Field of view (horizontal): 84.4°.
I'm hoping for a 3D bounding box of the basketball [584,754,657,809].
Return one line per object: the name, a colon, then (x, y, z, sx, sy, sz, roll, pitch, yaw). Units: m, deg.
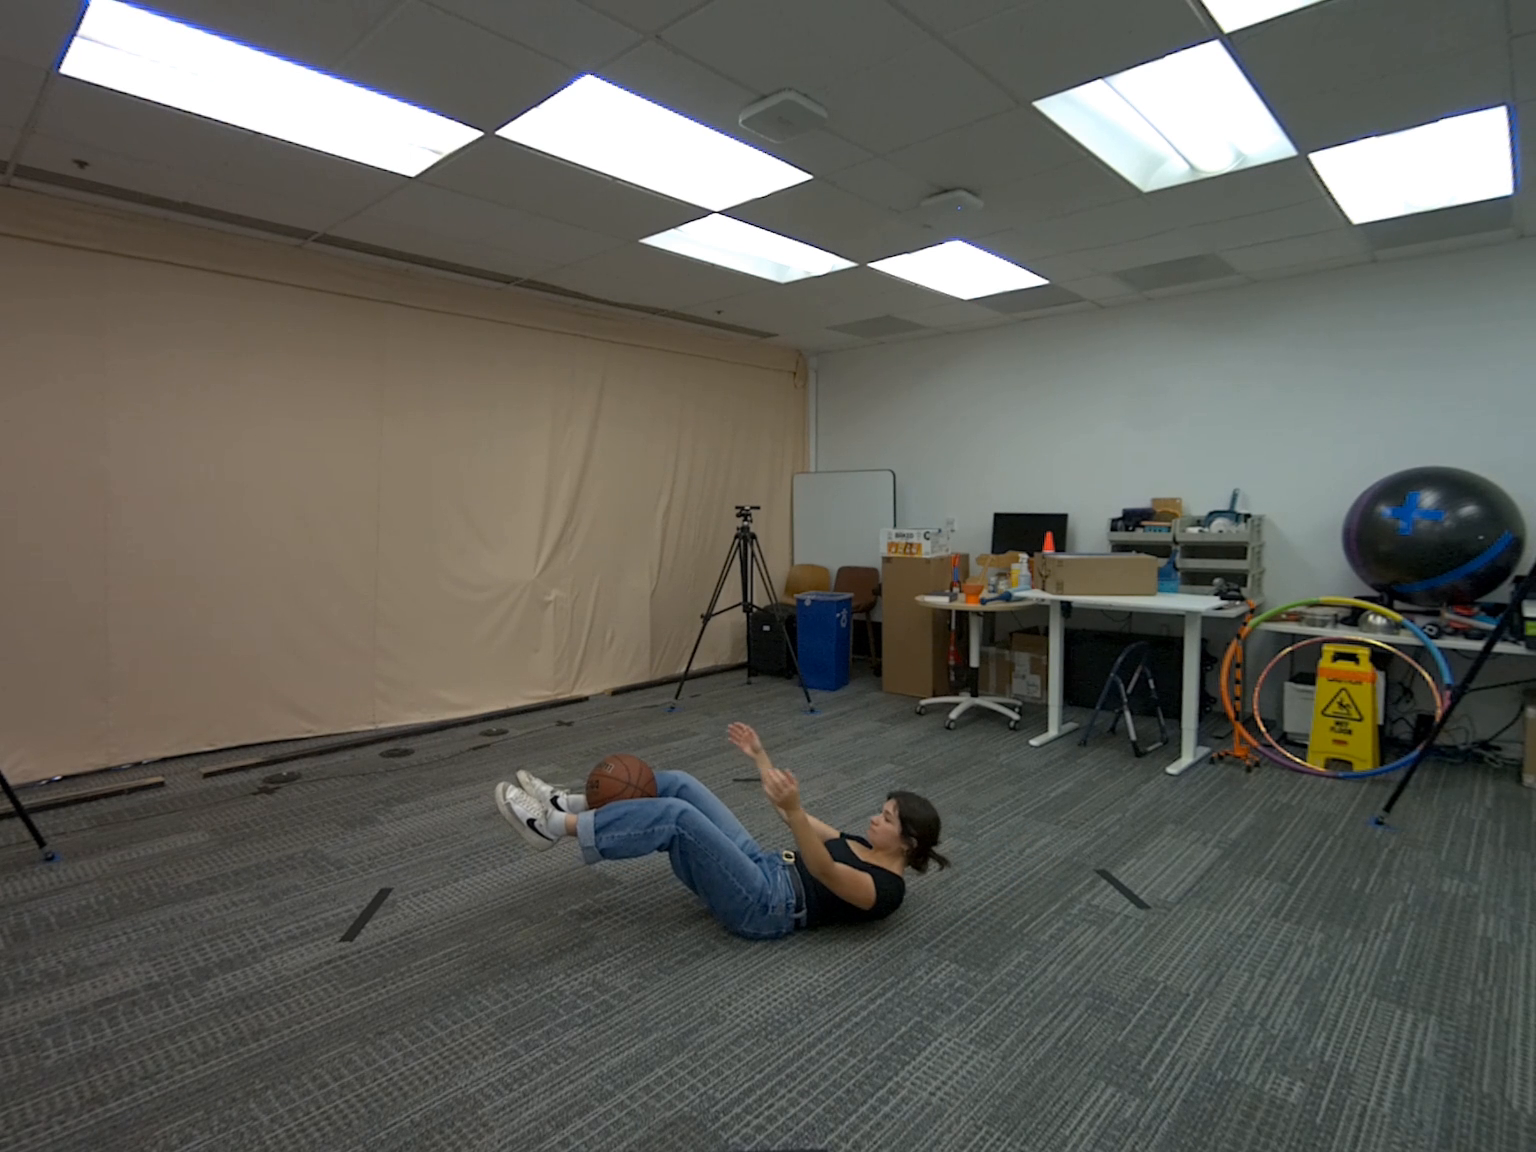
basketball: (-0.487, 0.714, 2.806, 0.236, 0.235, 0.237, 0, 4, -2)
